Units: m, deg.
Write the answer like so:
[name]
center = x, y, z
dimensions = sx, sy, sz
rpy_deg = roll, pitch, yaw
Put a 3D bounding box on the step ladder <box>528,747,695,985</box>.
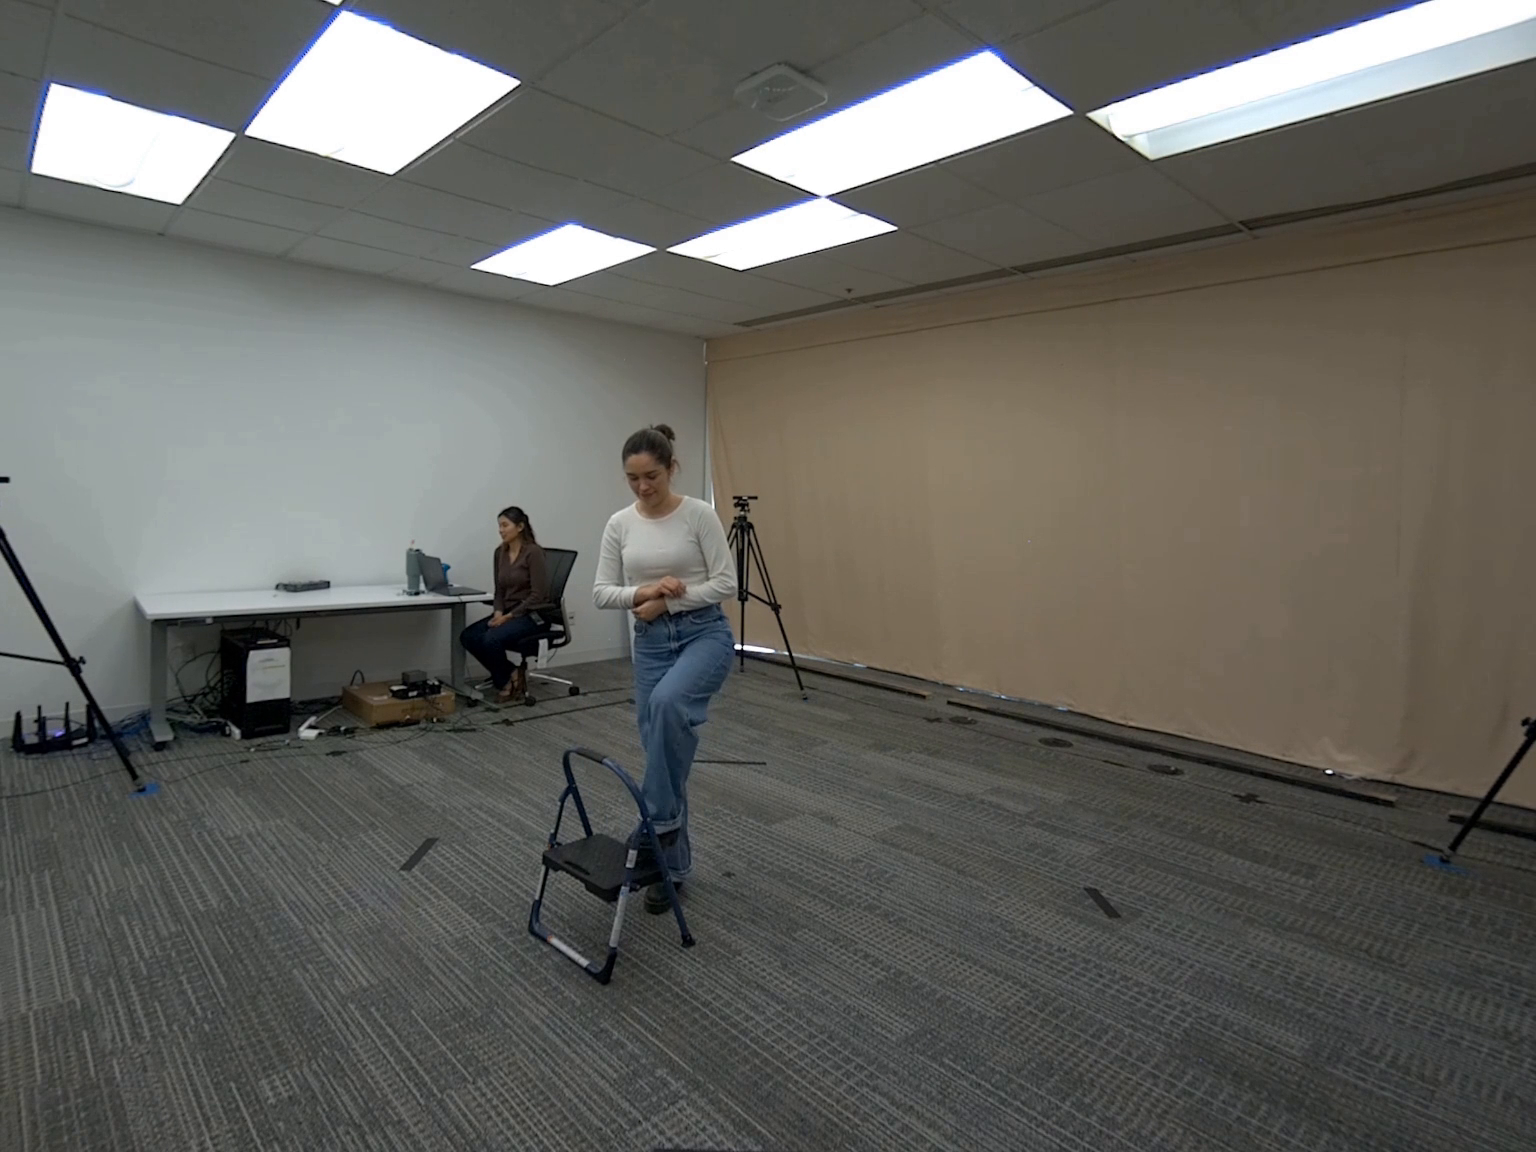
[step ladder]
center = -0.499, 0.840, 2.625
dimensions = 0.441, 0.604, 0.341
rpy_deg = 4, 5, 43
